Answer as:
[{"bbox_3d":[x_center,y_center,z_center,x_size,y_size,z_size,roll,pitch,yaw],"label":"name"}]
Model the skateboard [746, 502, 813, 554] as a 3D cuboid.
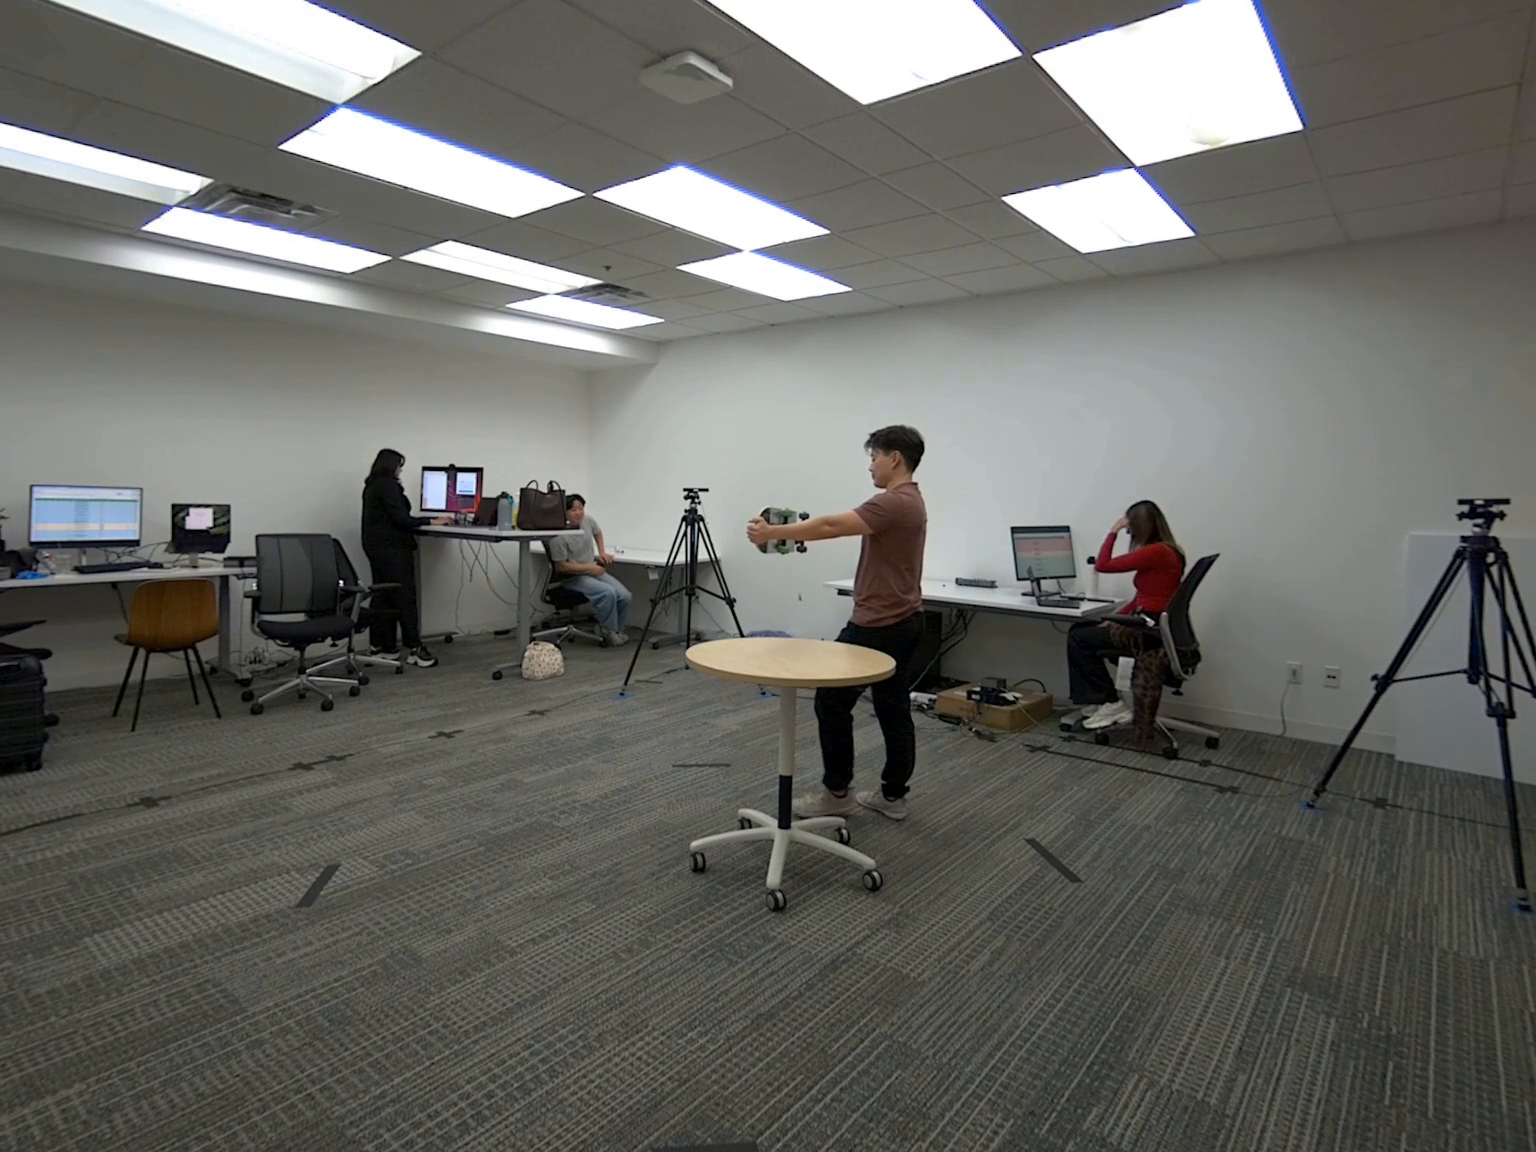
[{"bbox_3d":[0.063,-0.207,3.735,0.112,0.193,0.773,-4,1,14],"label":"skateboard"}]
